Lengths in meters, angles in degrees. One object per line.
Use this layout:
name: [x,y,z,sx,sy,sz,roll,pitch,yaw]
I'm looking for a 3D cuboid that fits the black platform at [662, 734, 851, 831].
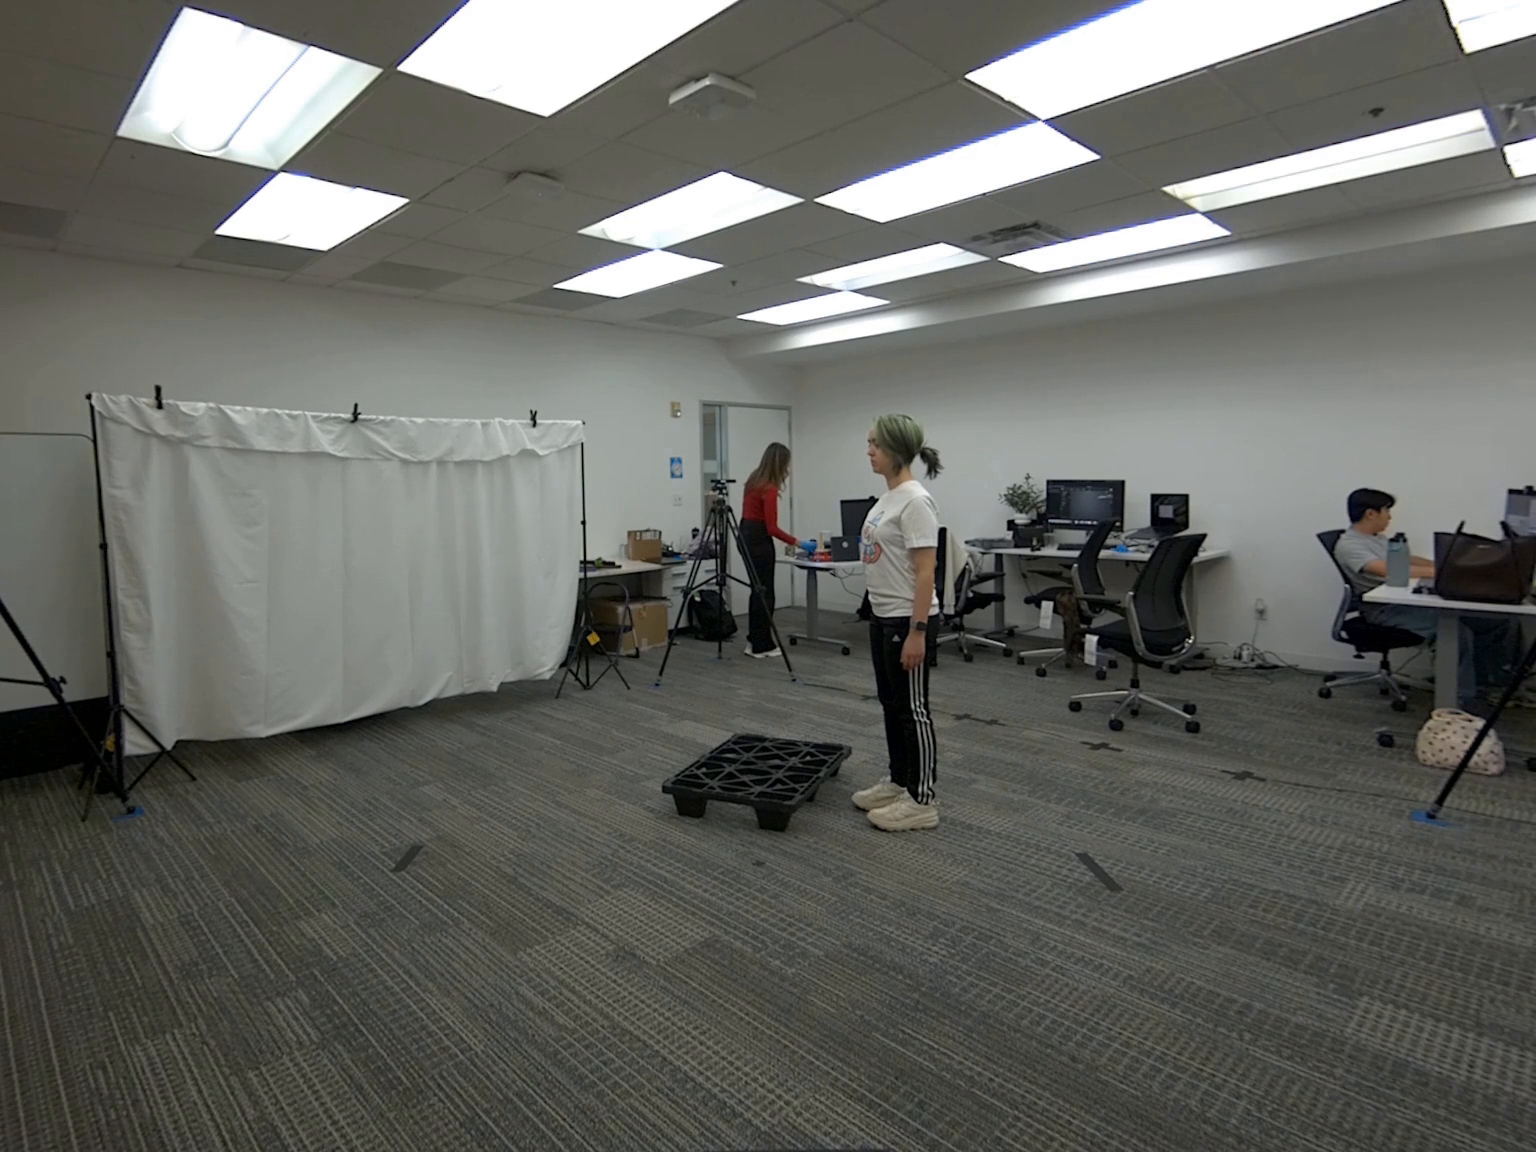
black platform: [-0.026,0.900,3.803,0.618,0.143,0.792,0,6,23]
